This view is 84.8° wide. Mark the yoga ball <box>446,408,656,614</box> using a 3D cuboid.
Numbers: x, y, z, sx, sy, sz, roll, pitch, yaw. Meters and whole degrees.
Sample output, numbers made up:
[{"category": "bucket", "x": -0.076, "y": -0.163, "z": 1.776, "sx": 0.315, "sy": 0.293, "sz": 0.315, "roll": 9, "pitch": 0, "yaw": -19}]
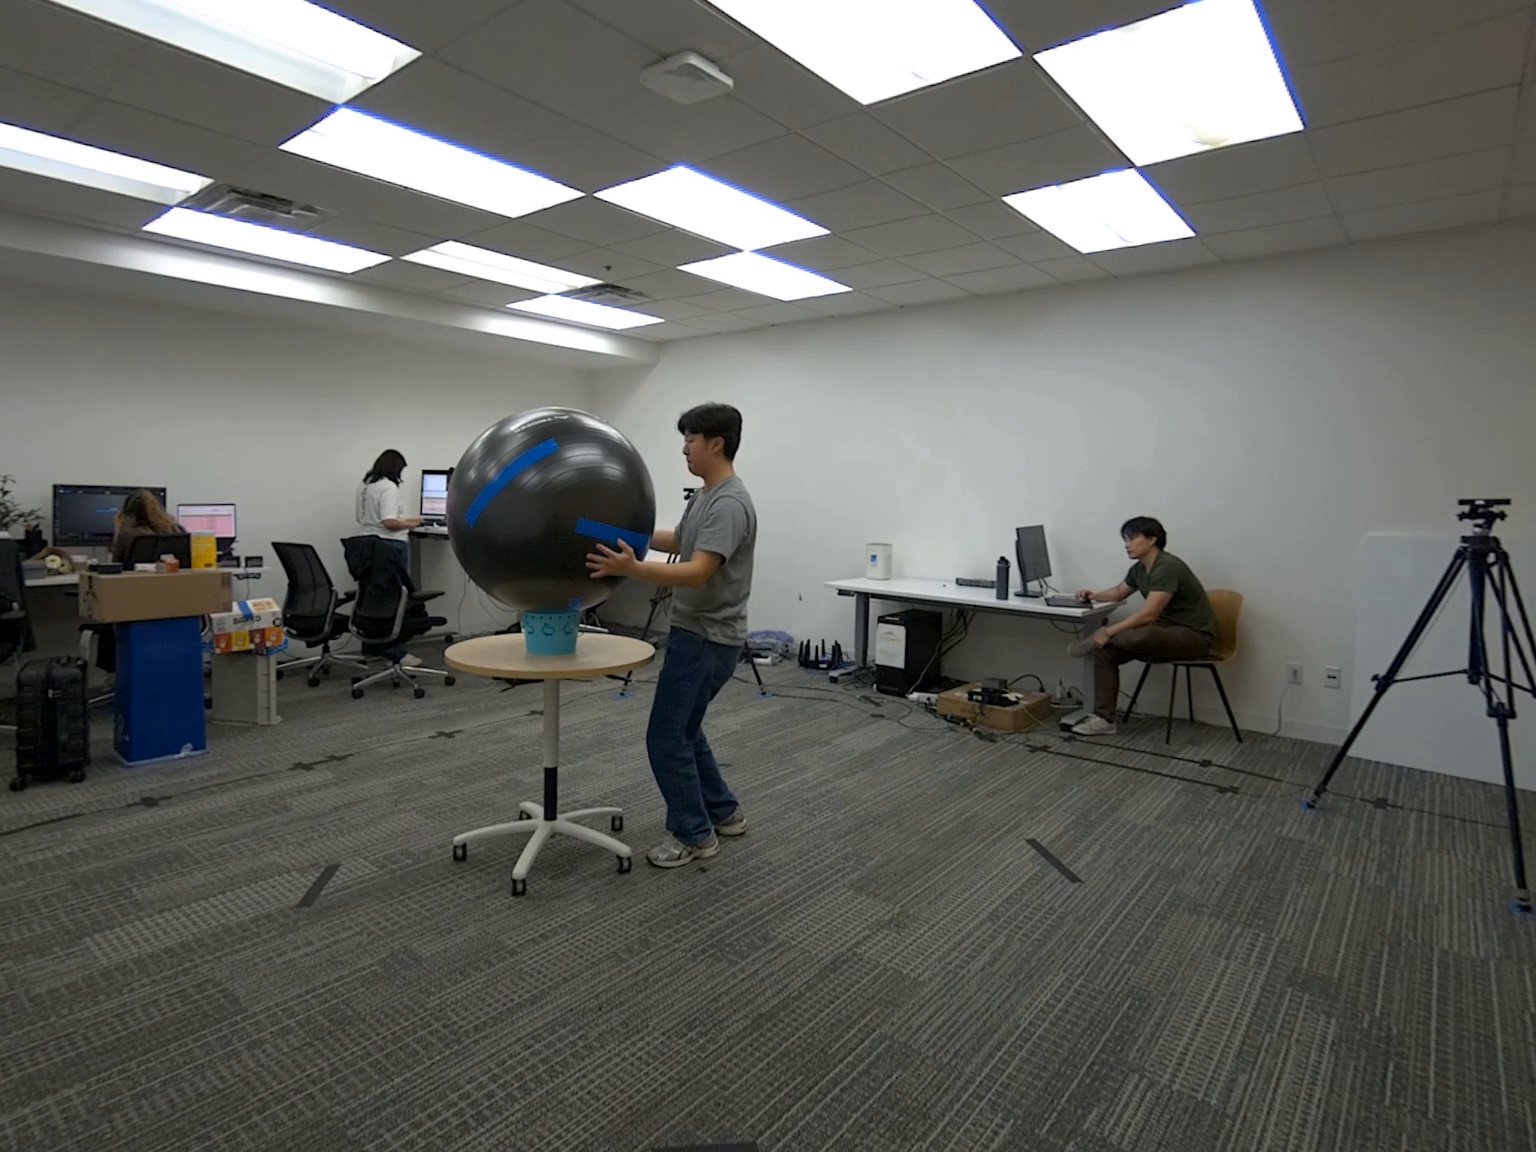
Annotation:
[{"category": "yoga ball", "x": -0.816, "y": -0.239, "z": 3.136, "sx": 0.757, "sy": 0.755, "sz": 0.762, "roll": 1, "pitch": 4, "yaw": -2}]
